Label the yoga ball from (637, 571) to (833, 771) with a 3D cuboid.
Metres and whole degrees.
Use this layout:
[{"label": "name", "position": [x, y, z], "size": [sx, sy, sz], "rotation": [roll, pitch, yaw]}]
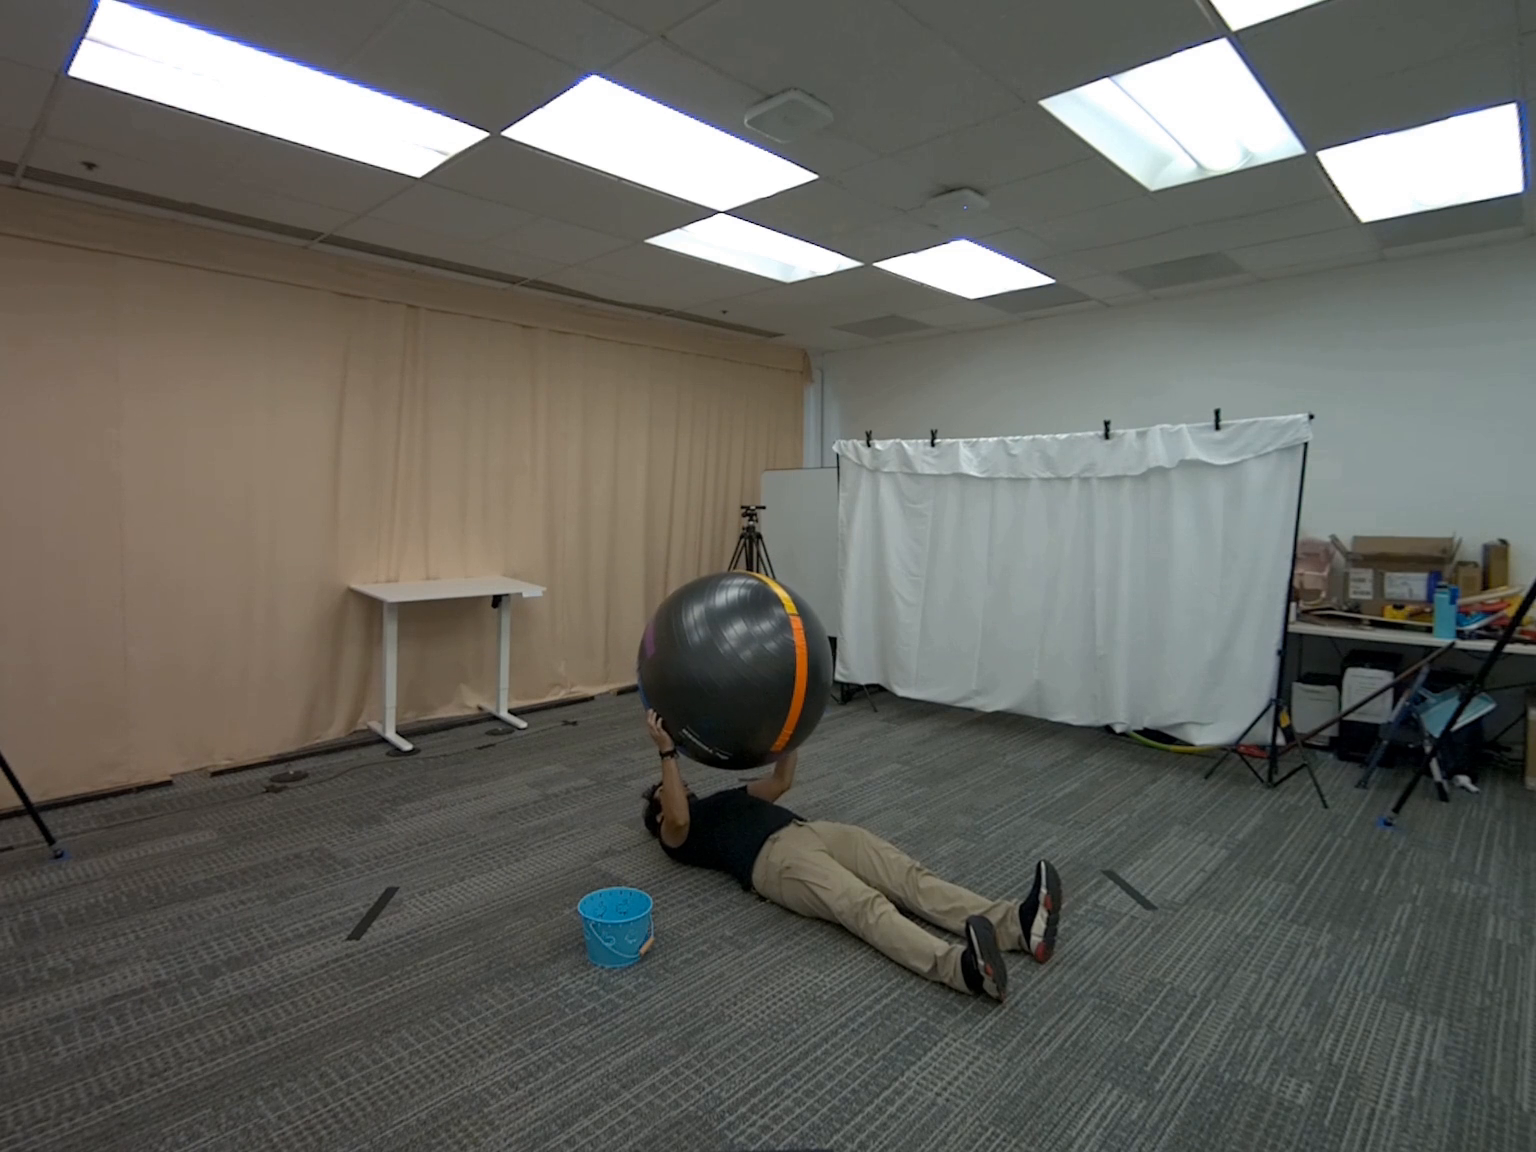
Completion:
[{"label": "yoga ball", "position": [-0.123, 0.364, 3.257], "size": [0.757, 0.756, 0.761], "rotation": [0, 4, -2]}]
